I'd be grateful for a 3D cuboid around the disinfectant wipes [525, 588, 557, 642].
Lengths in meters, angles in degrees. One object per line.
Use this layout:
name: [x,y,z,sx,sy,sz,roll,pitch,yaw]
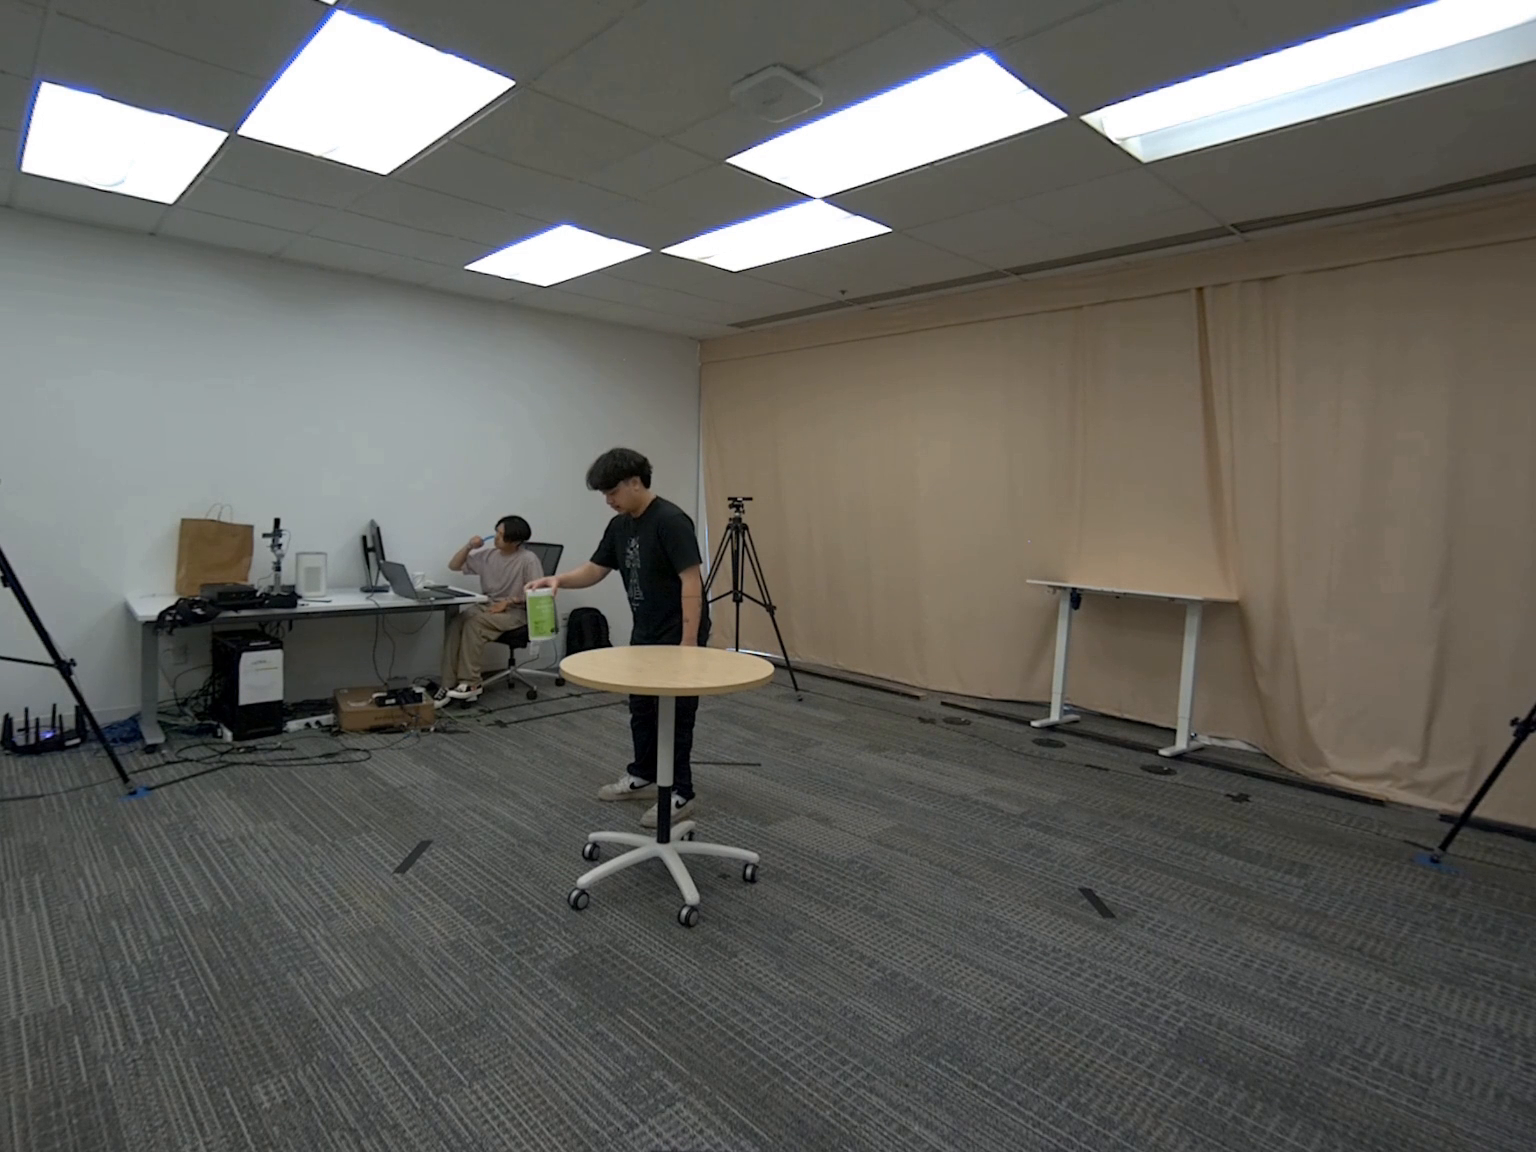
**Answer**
disinfectant wipes: [-0.946,0.158,3.490,0.118,0.217,0.118,-1,3,-1]
